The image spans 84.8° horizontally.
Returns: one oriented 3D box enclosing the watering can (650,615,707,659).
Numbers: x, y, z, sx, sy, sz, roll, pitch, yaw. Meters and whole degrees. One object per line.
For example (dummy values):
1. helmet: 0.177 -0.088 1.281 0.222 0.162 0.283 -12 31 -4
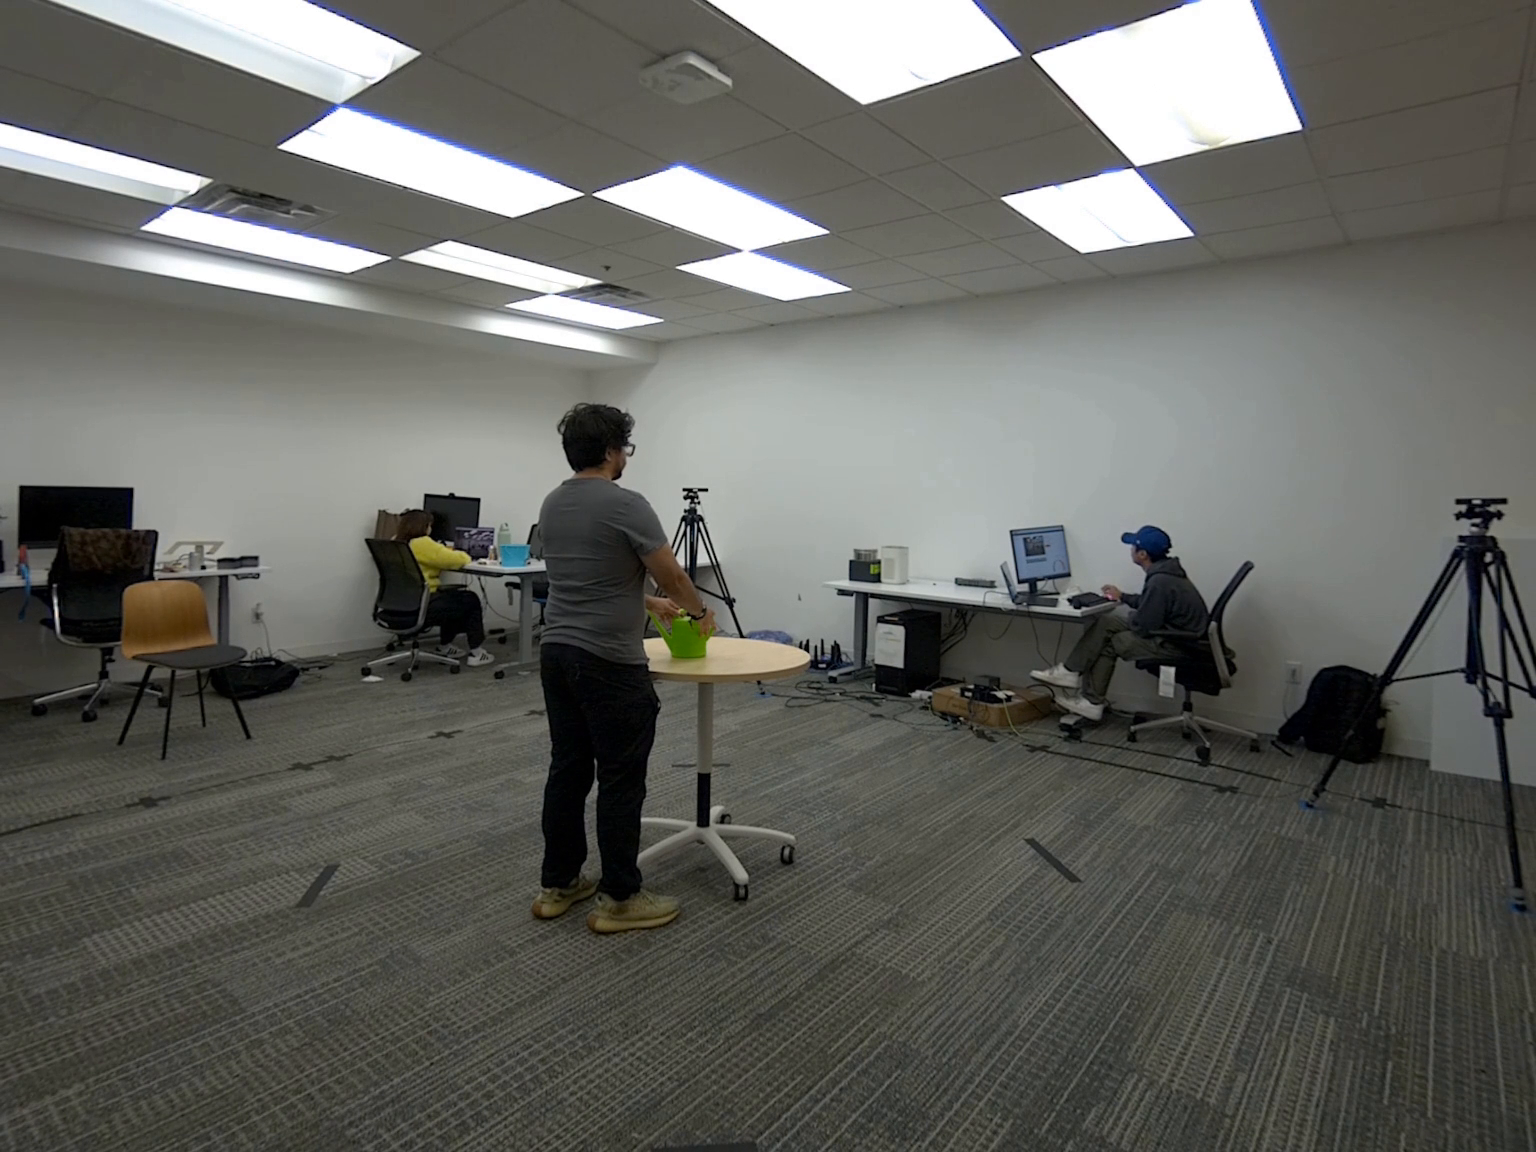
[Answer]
1. watering can: -0.340 0.205 3.081 0.278 0.176 0.098 1 2 -2
